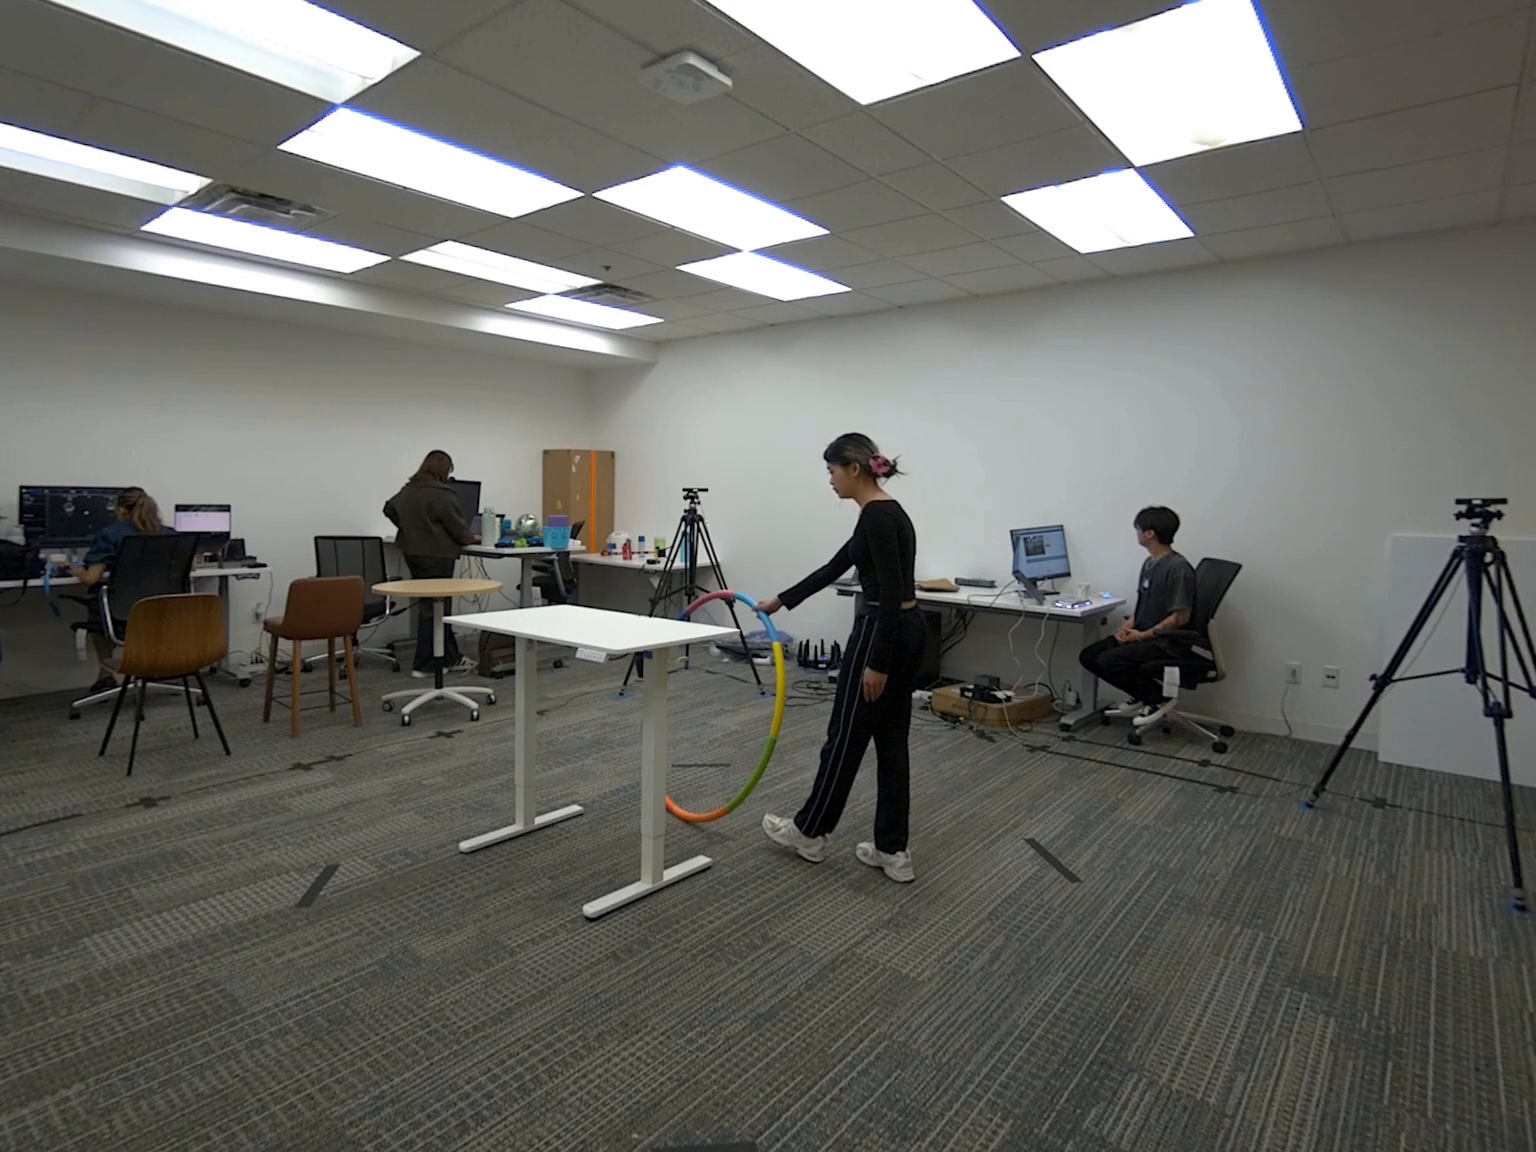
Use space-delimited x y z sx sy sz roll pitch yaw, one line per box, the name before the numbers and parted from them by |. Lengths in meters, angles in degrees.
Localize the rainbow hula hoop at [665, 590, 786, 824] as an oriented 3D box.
rainbow hula hoop | -0.280 0.537 3.659 0.034 0.983 1.011 18 -7 -37
